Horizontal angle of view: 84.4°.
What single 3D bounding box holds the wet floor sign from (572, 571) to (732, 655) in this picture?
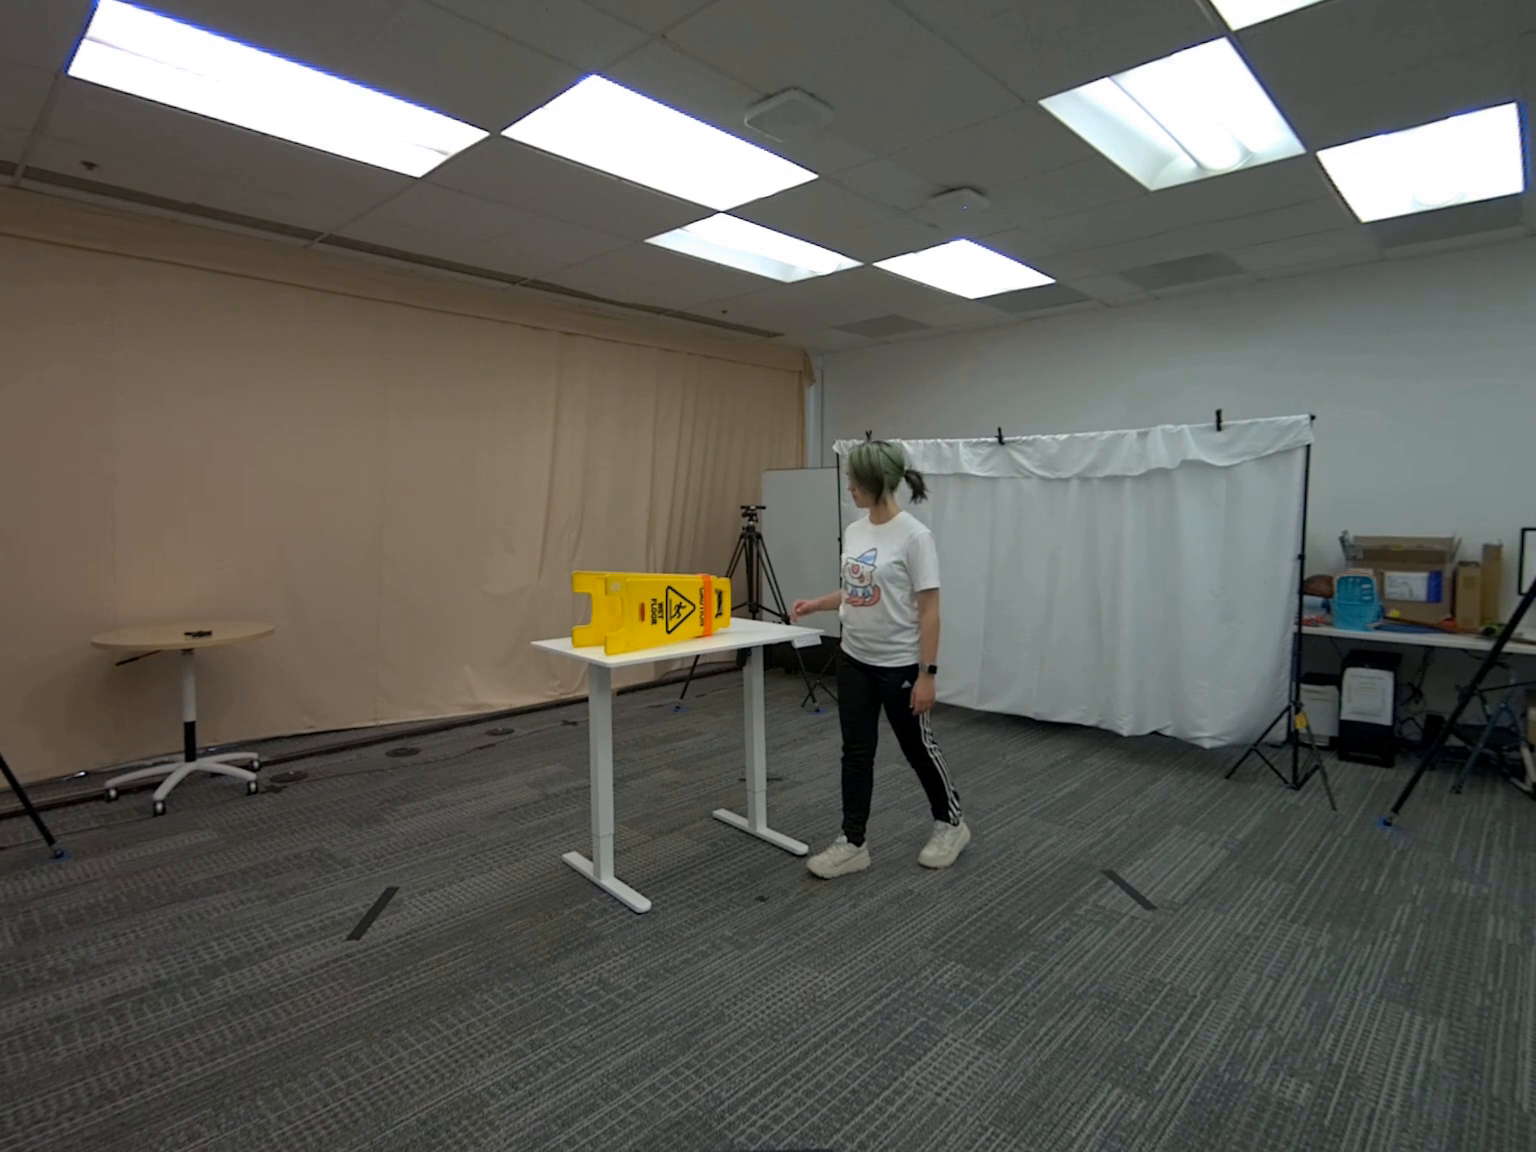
[{"bbox_3d":[-0.399,0.123,3.191,0.626,0.282,0.299,-2,4,-40],"label":"wet floor sign"}]
